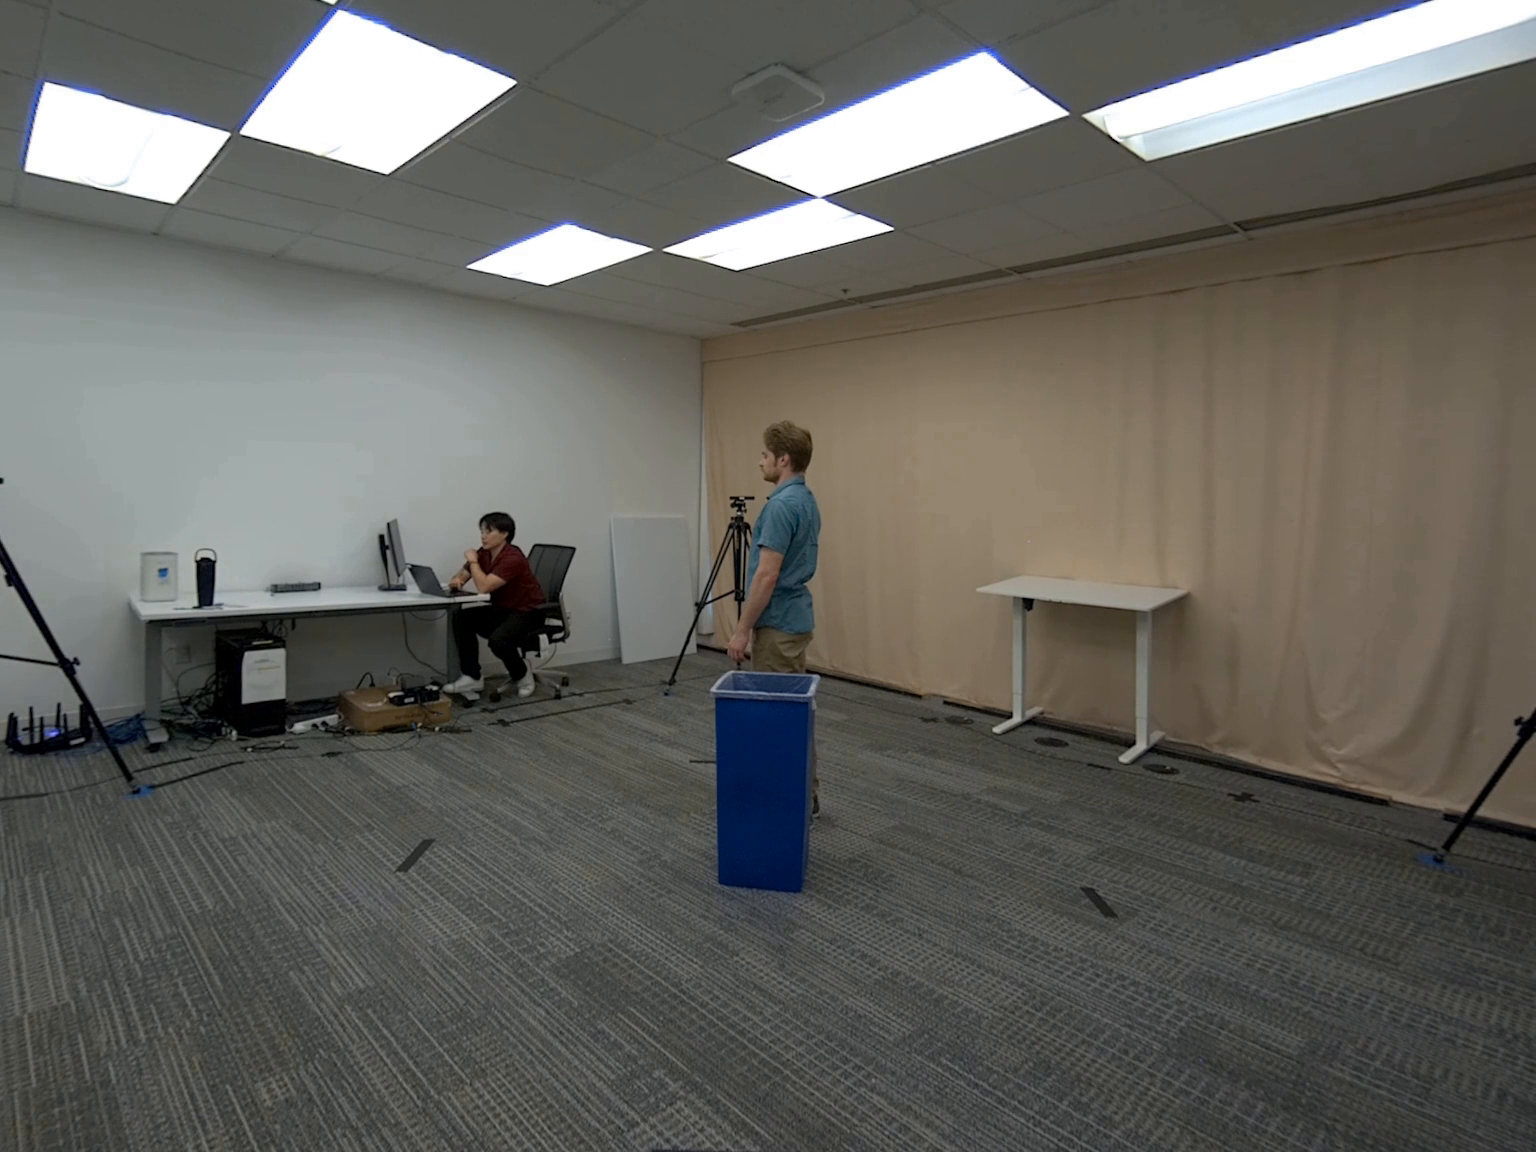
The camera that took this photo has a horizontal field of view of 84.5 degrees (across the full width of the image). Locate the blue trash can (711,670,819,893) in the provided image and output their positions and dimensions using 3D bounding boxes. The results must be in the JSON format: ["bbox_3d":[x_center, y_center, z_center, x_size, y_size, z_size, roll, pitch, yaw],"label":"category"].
[{"bbox_3d":[-0.022,0.746,3.135,0.381,0.712,0.372,1,4,9],"label":"blue trash can"}]
